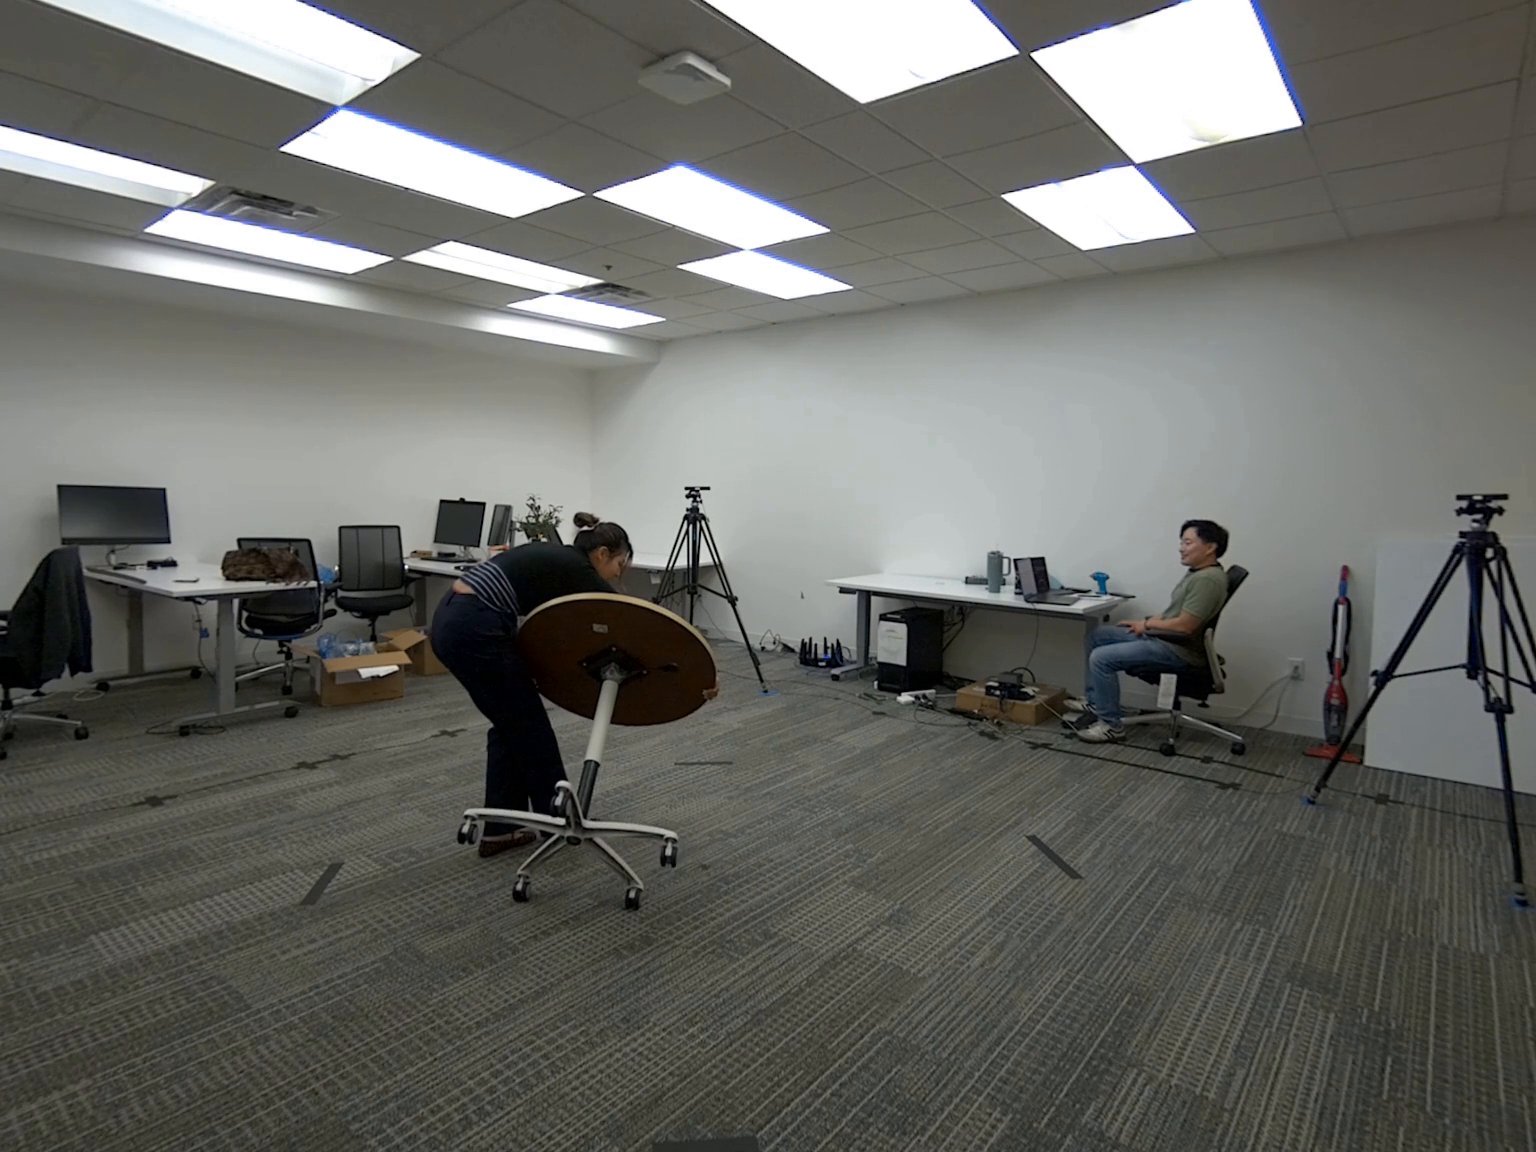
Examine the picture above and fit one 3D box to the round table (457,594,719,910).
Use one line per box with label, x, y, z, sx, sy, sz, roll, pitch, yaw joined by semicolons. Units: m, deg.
round table;-0.602;0.608;2.905;0.770;0.740;0.813;1;45;6
